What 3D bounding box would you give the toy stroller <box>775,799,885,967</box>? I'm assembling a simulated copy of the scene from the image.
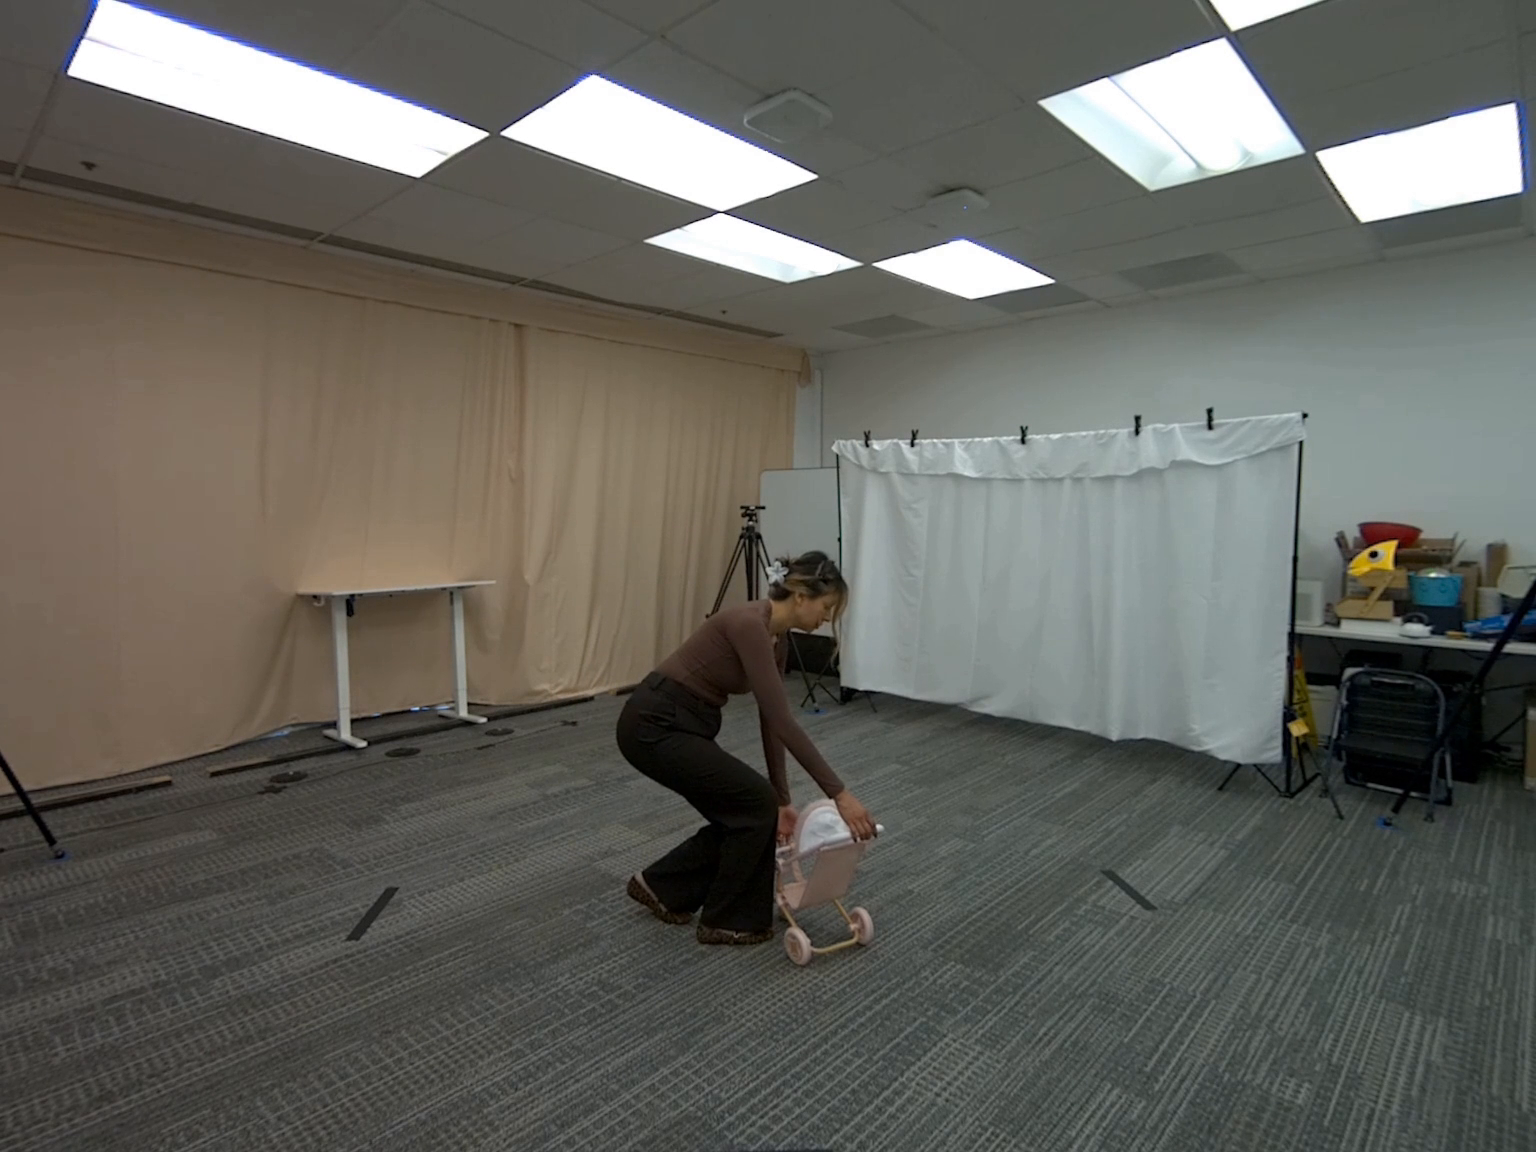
[{"bbox_3d":[0.169,0.934,2.660,0.274,0.531,0.352,-1,19,-27],"label":"toy stroller"}]
